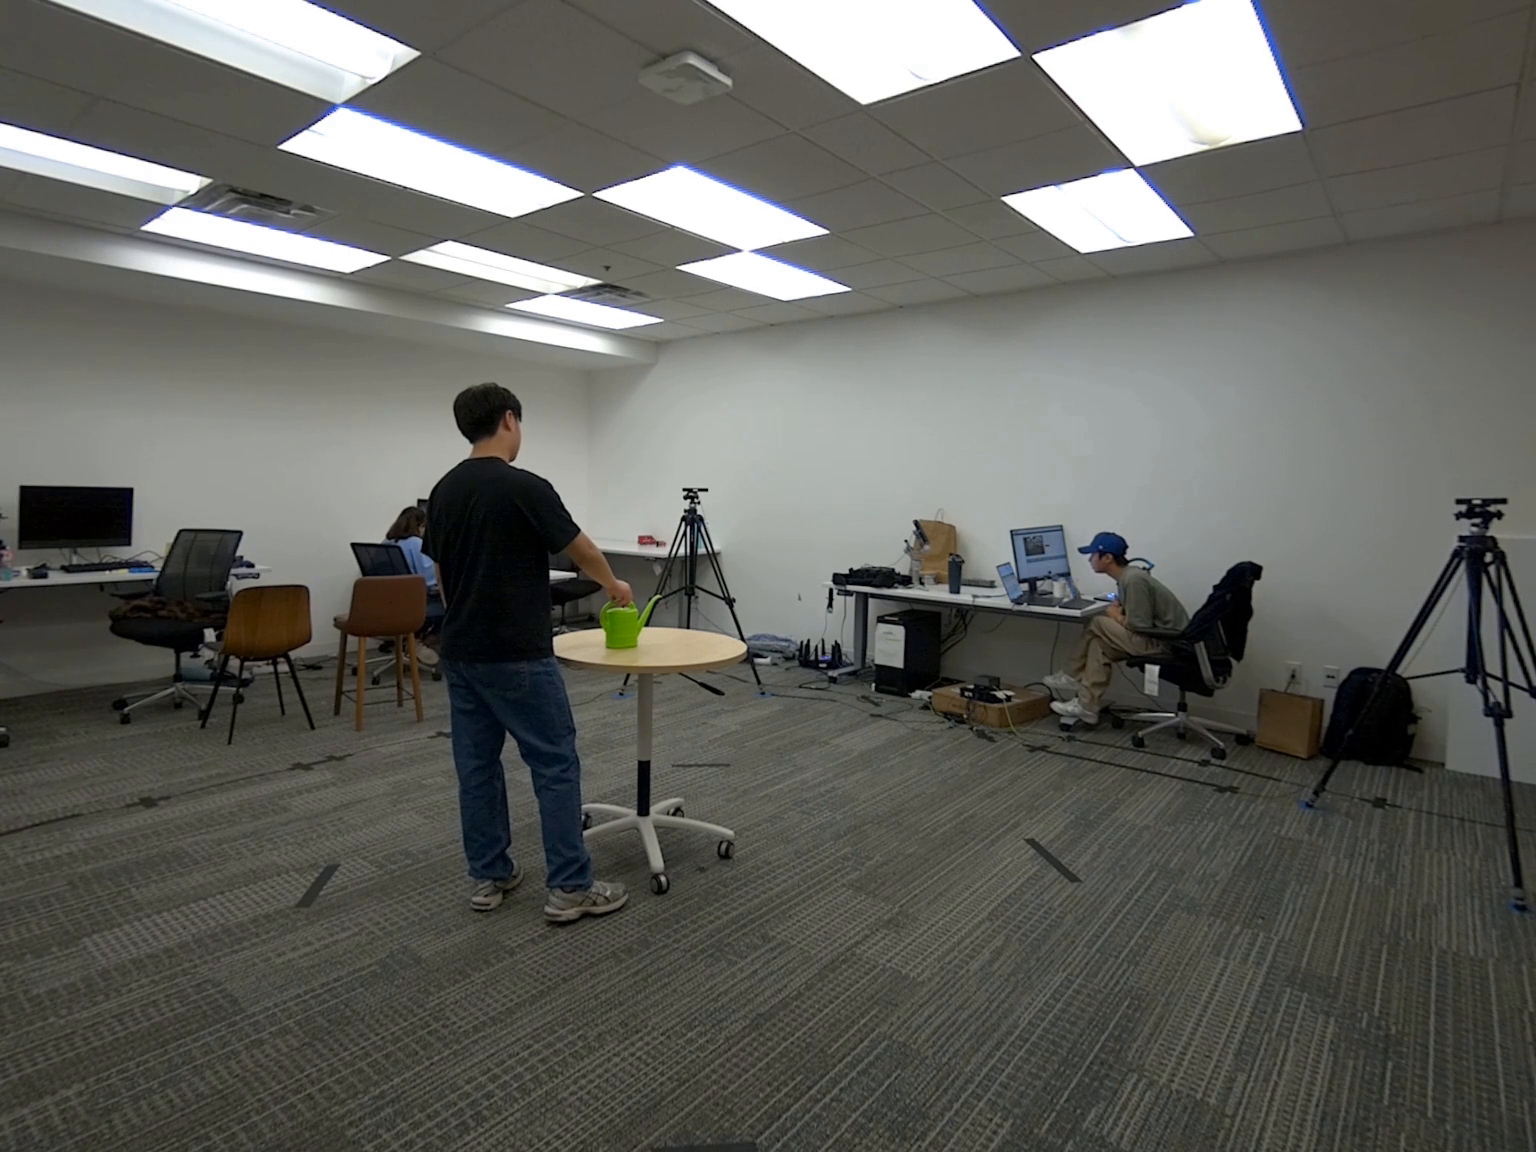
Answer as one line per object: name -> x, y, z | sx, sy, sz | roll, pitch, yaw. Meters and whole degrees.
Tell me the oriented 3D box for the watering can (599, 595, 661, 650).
watering can -> -0.513, 0.172, 3.196 | 0.271, 0.176, 0.101 | -4, 7, -30
